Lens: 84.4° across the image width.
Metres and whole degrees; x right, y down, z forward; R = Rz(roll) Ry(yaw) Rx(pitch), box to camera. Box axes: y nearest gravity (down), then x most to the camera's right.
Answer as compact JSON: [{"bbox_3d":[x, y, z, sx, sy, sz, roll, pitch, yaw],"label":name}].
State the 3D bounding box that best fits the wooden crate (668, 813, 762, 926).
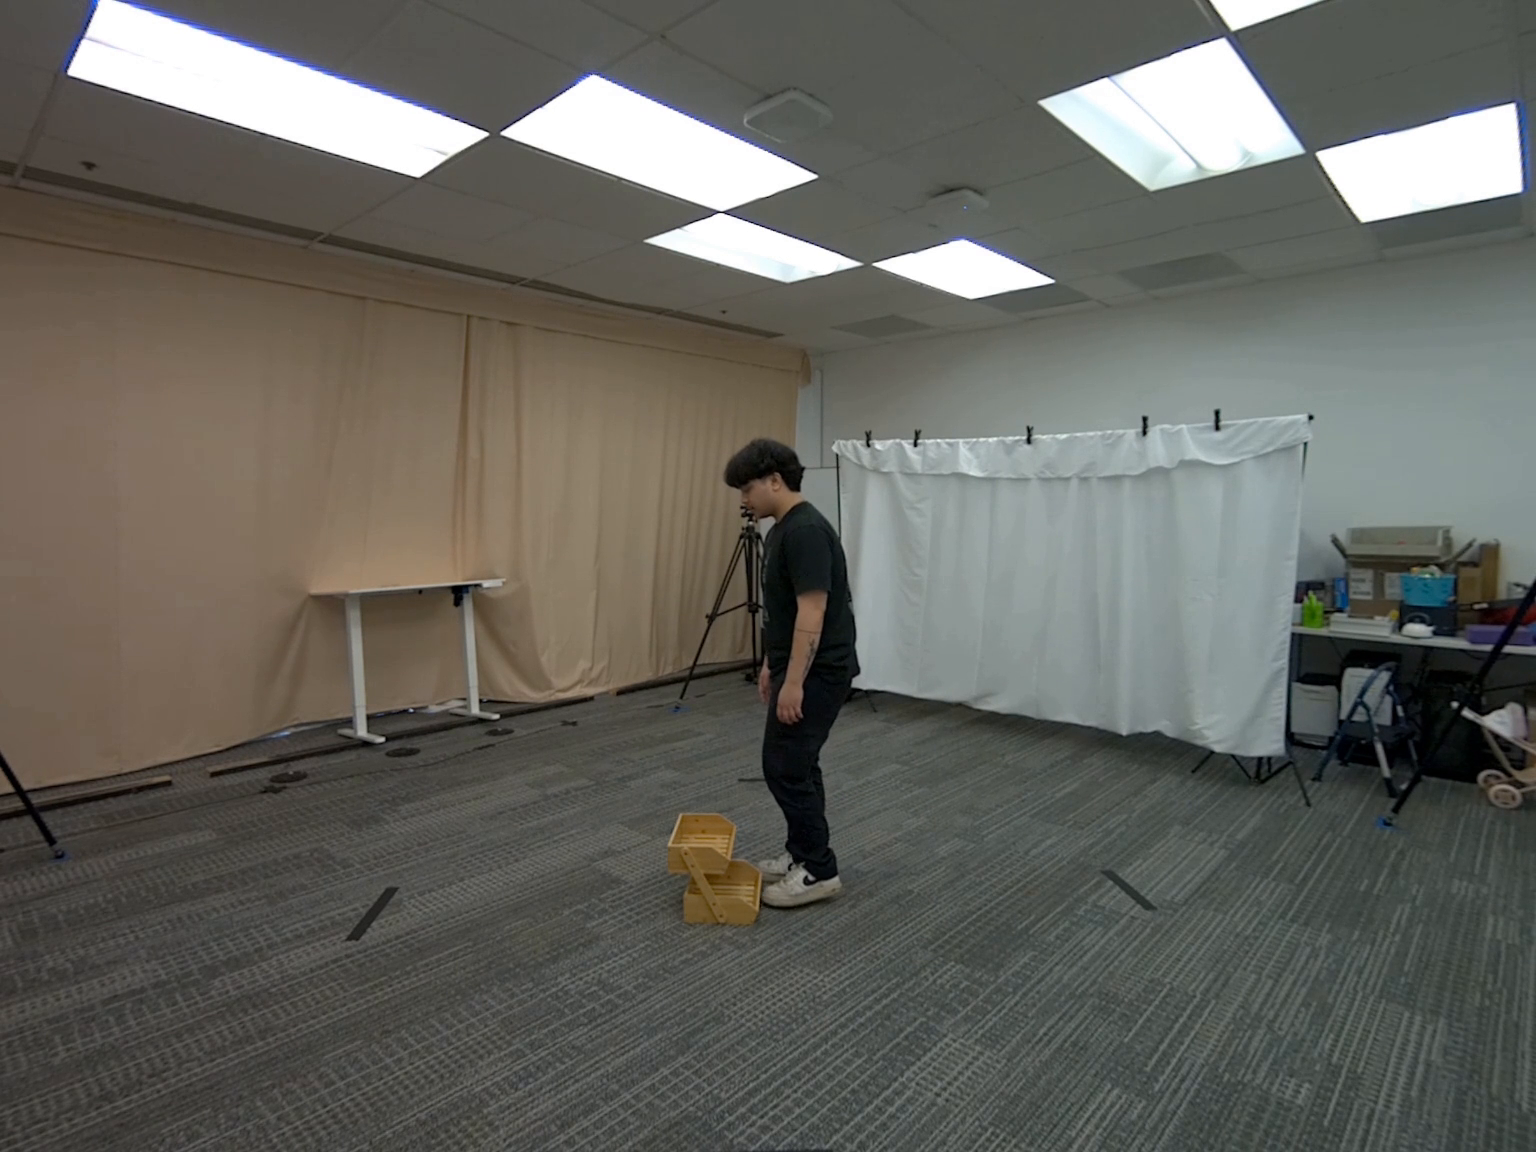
[{"bbox_3d":[-0.172,1.015,2.952,0.303,0.273,0.324,-1,4,3],"label":"wooden crate"}]
